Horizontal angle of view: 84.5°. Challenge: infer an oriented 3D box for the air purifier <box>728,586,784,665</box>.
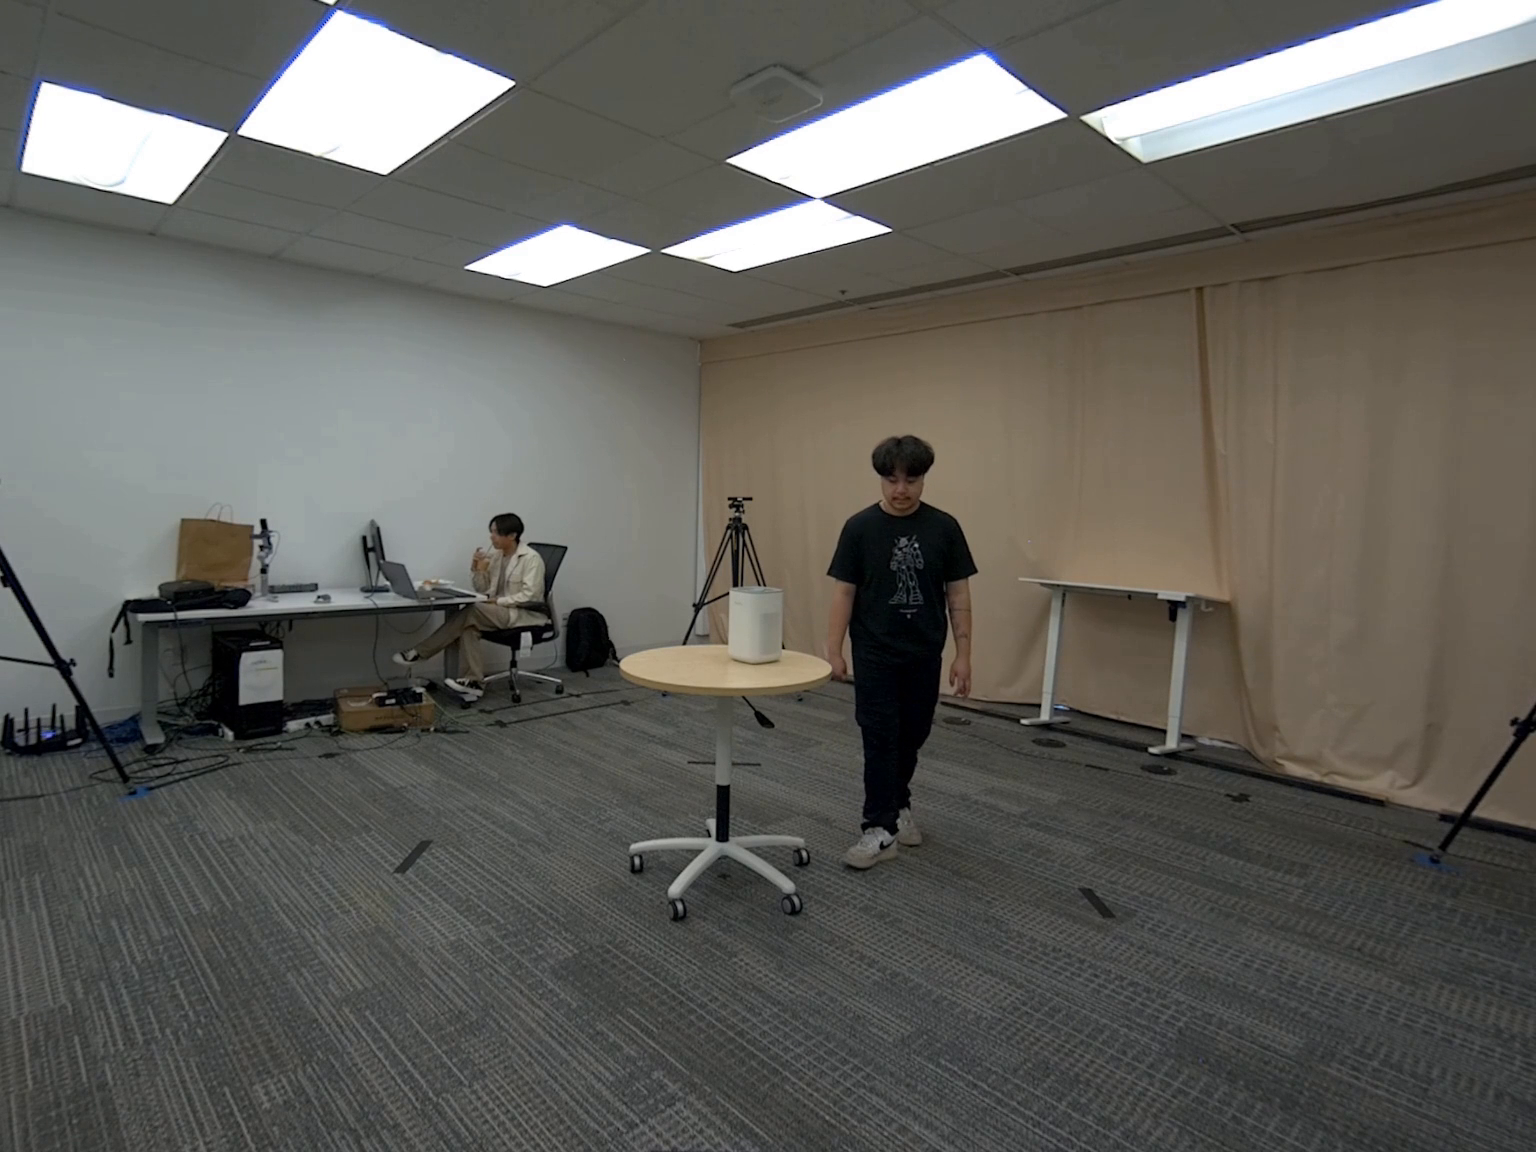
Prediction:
[{"bbox_3d":[-0.052,0.177,3.122,0.168,0.265,0.175,-3,4,-43],"label":"air purifier"}]
